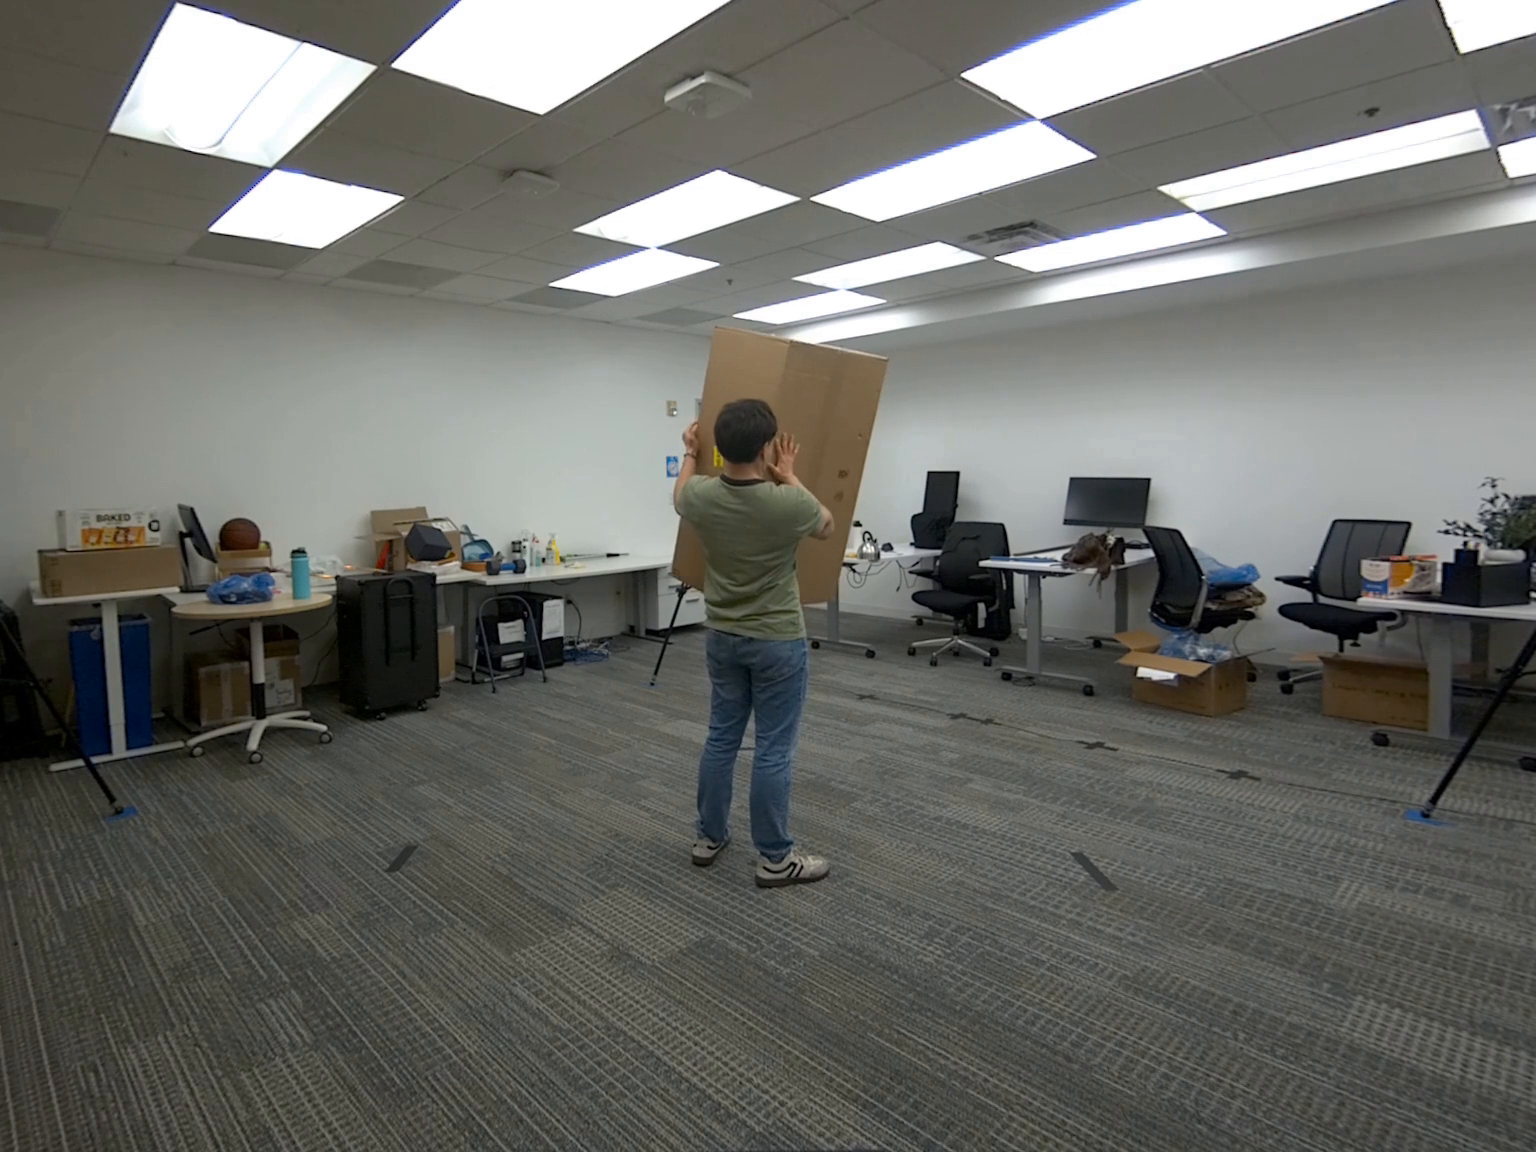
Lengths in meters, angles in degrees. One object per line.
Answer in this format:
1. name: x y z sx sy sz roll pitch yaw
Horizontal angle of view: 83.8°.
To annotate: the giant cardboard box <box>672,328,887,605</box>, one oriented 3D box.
1. giant cardboard box: 0.037 -0.426 3.454 0.562 1.016 0.442 -3 20 -44
